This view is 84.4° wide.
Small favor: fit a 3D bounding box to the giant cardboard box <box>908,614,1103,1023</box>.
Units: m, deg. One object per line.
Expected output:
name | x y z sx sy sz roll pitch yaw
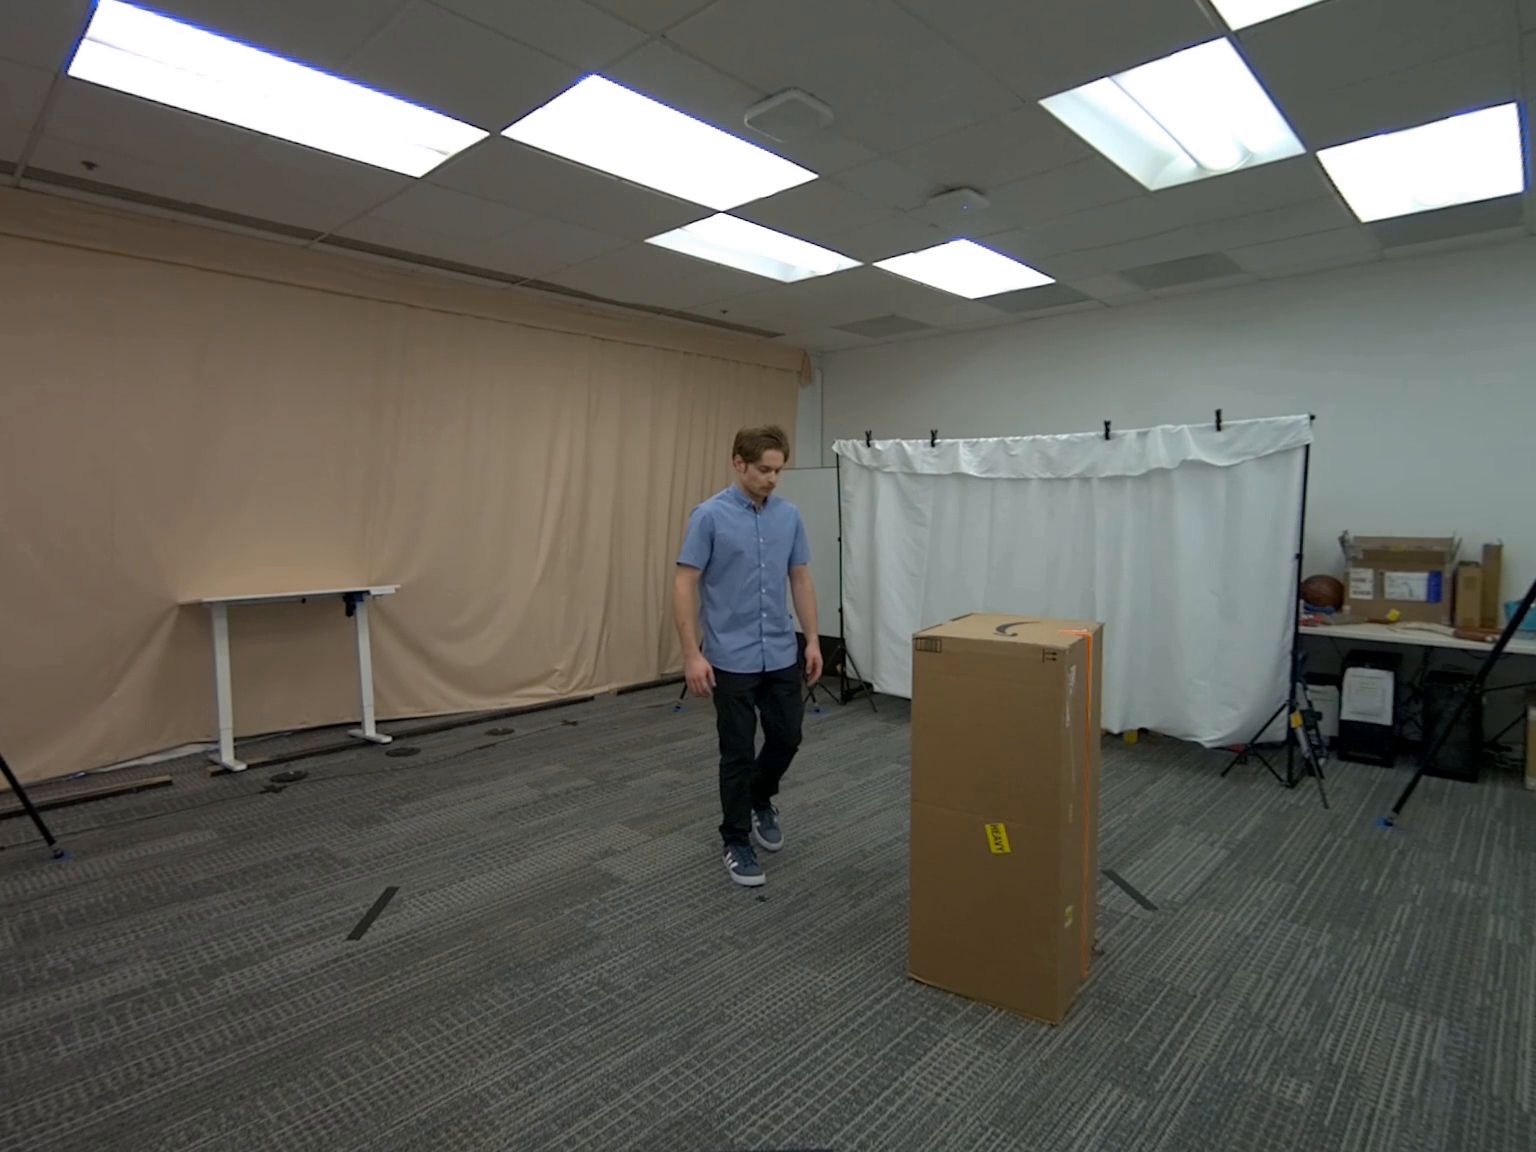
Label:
giant cardboard box | 0.747 0.668 2.570 0.439 1.024 0.561 2 3 33
